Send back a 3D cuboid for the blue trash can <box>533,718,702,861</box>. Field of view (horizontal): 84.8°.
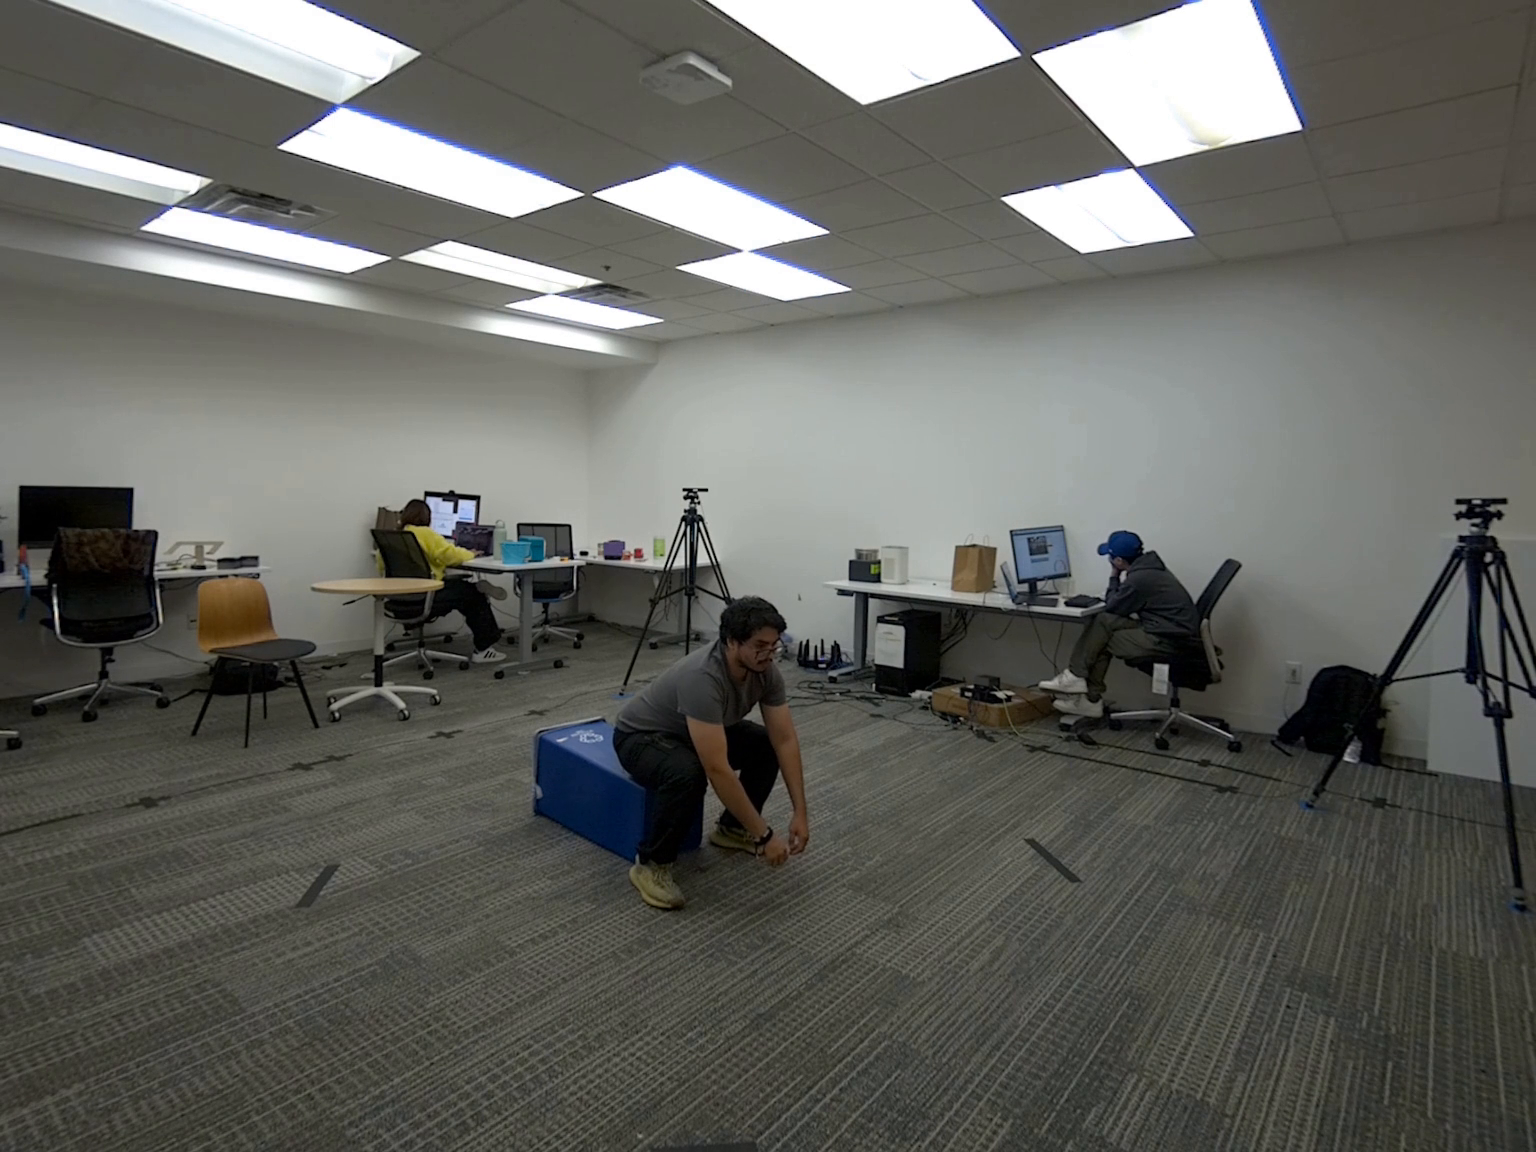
[{"bbox_3d":[-0.626,0.853,3.456,0.739,0.372,0.366,8,8,44],"label":"blue trash can"}]
